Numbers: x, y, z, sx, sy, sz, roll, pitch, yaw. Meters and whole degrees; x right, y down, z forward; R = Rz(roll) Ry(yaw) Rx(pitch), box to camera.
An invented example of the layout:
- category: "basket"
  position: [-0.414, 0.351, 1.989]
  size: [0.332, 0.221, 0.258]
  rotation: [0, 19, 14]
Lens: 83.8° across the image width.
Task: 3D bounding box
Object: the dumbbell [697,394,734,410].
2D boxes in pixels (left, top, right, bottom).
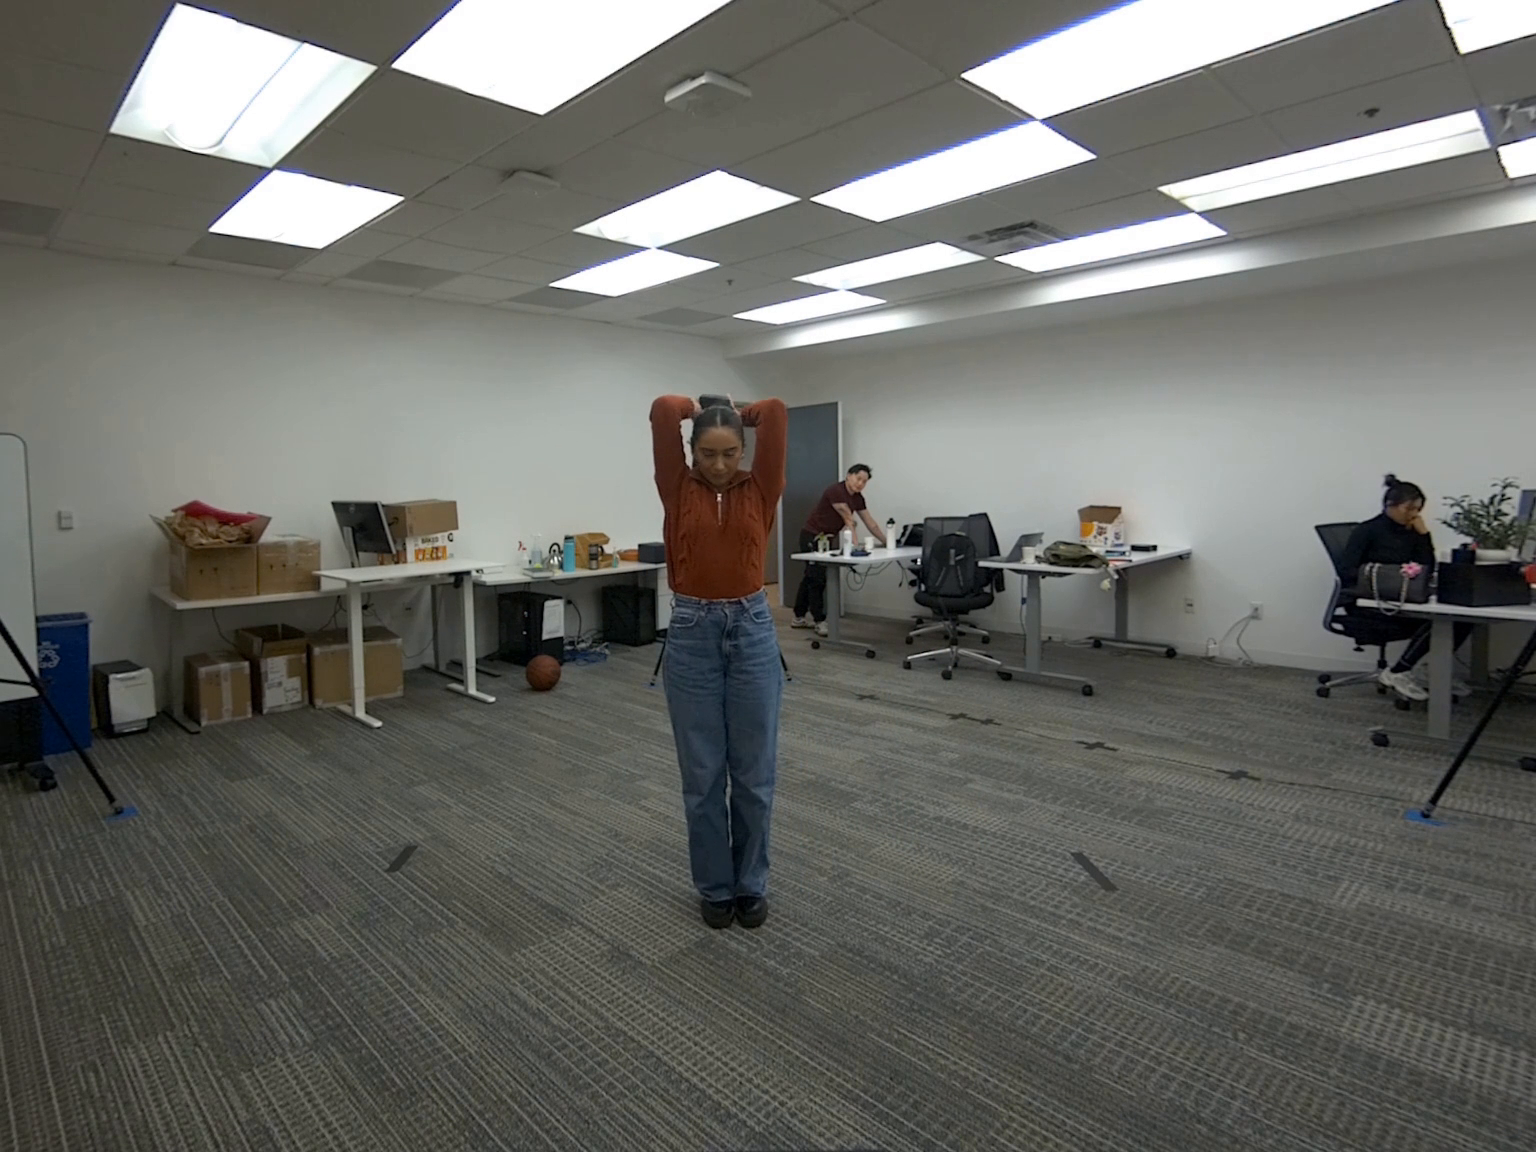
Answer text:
- category: "dumbbell"
  position: [-0.195, -0.478, 2.945]
  size: [0.108, 0.291, 0.125]
  rotation: [3, 10, -10]
